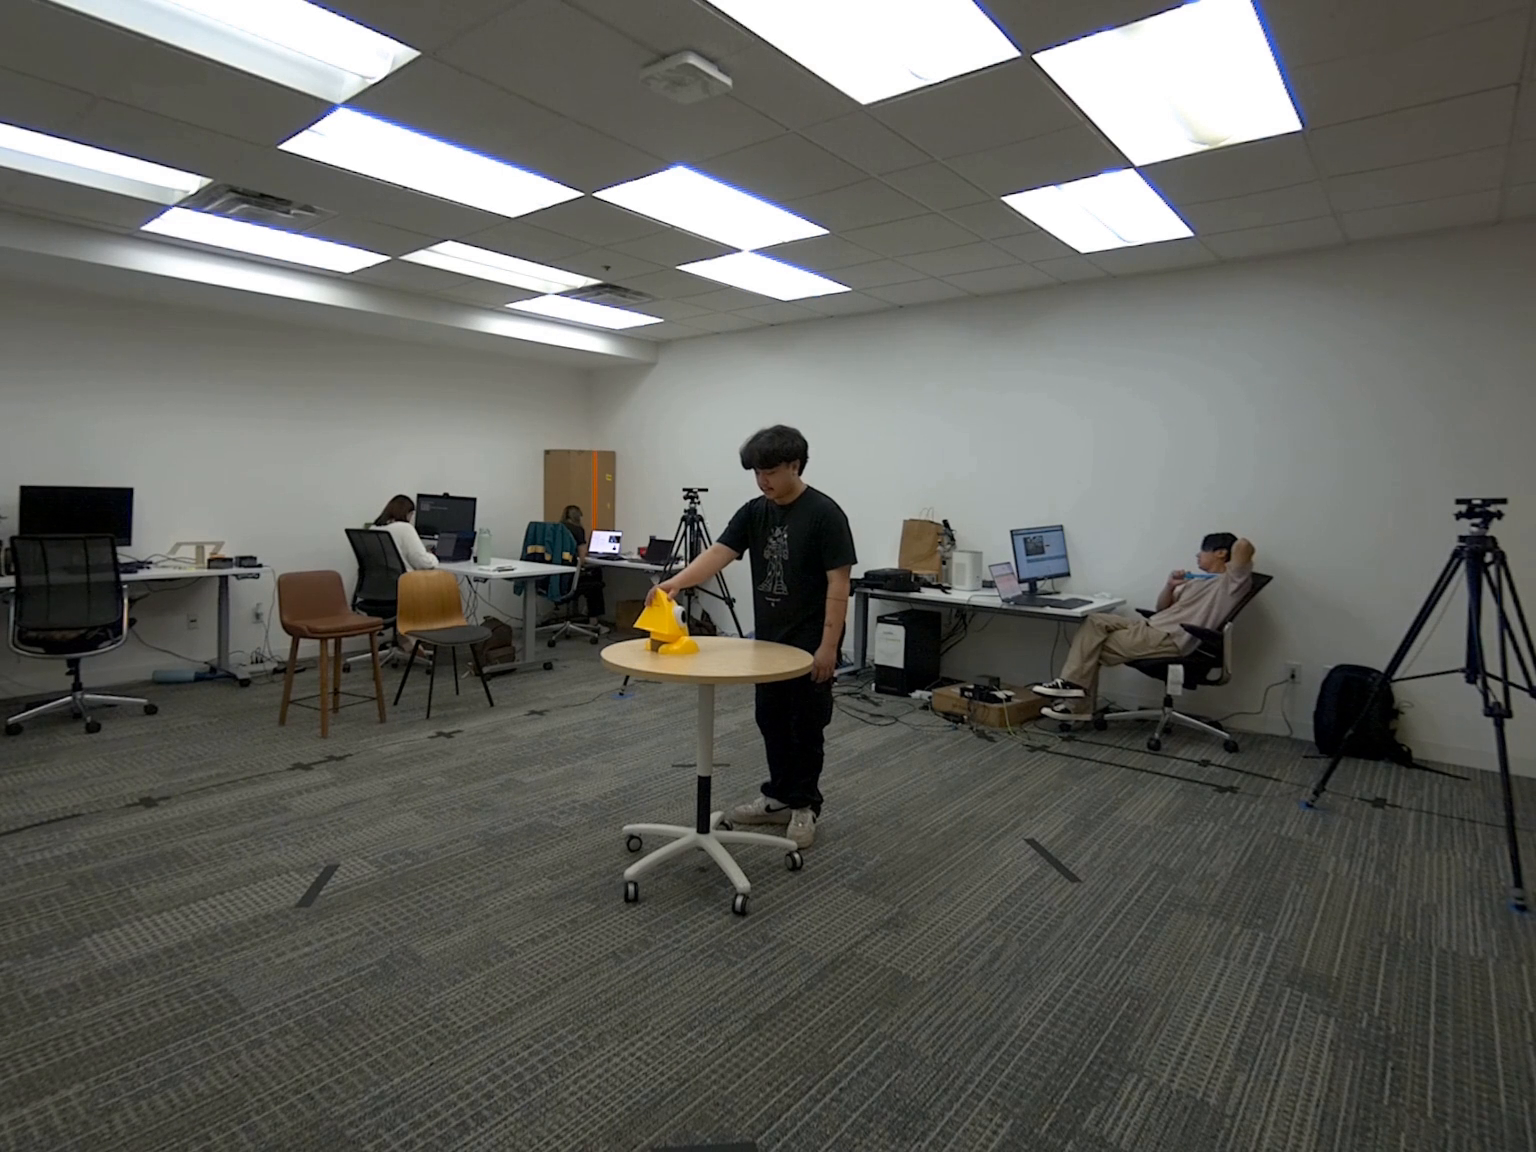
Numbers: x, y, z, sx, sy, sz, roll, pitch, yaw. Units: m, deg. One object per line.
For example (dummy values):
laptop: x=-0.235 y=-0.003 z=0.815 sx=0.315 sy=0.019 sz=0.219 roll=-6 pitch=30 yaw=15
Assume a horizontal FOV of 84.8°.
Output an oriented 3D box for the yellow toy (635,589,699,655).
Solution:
yellow toy: x=-0.372 y=0.155 z=3.135 sx=0.187 sy=0.230 sz=0.212 roll=-1 pitch=4 yaw=-43
